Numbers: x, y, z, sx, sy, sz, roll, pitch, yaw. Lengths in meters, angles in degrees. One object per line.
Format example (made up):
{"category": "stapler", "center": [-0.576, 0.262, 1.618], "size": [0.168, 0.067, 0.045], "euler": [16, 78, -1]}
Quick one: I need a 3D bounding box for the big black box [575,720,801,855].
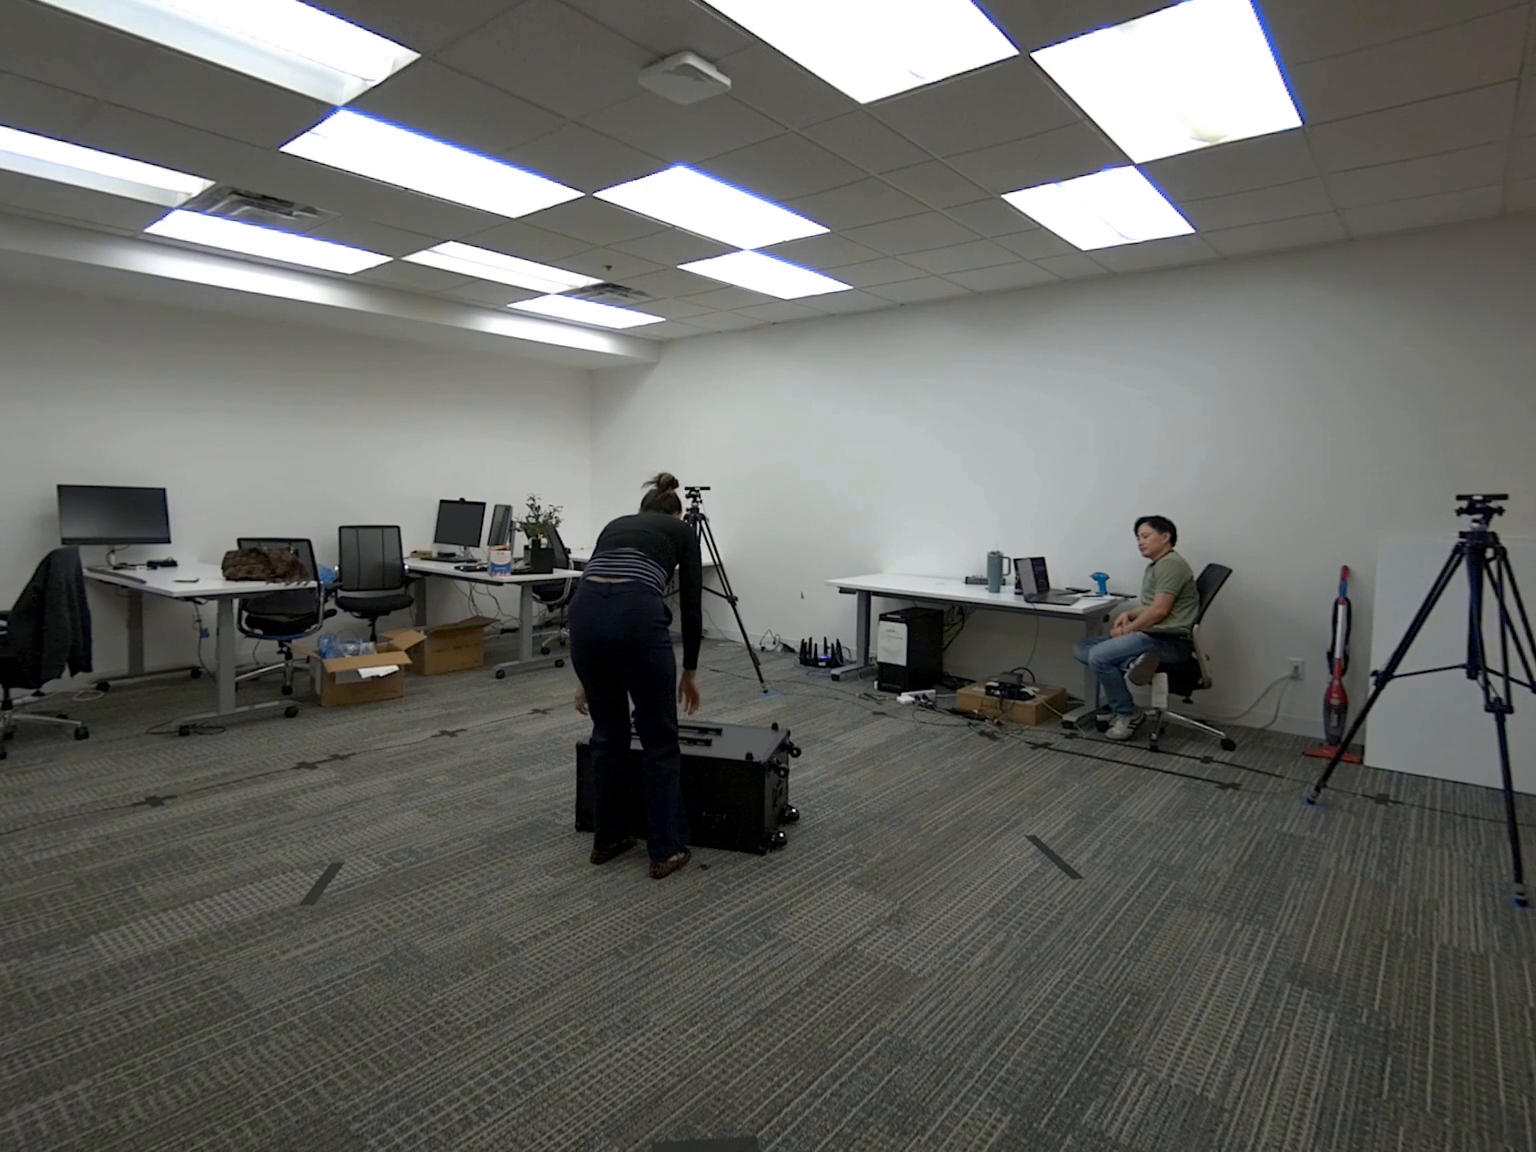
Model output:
{"category": "big black box", "center": [-0.311, 0.825, 3.536], "size": [0.876, 0.395, 0.514], "euler": [4, 5, 15]}
